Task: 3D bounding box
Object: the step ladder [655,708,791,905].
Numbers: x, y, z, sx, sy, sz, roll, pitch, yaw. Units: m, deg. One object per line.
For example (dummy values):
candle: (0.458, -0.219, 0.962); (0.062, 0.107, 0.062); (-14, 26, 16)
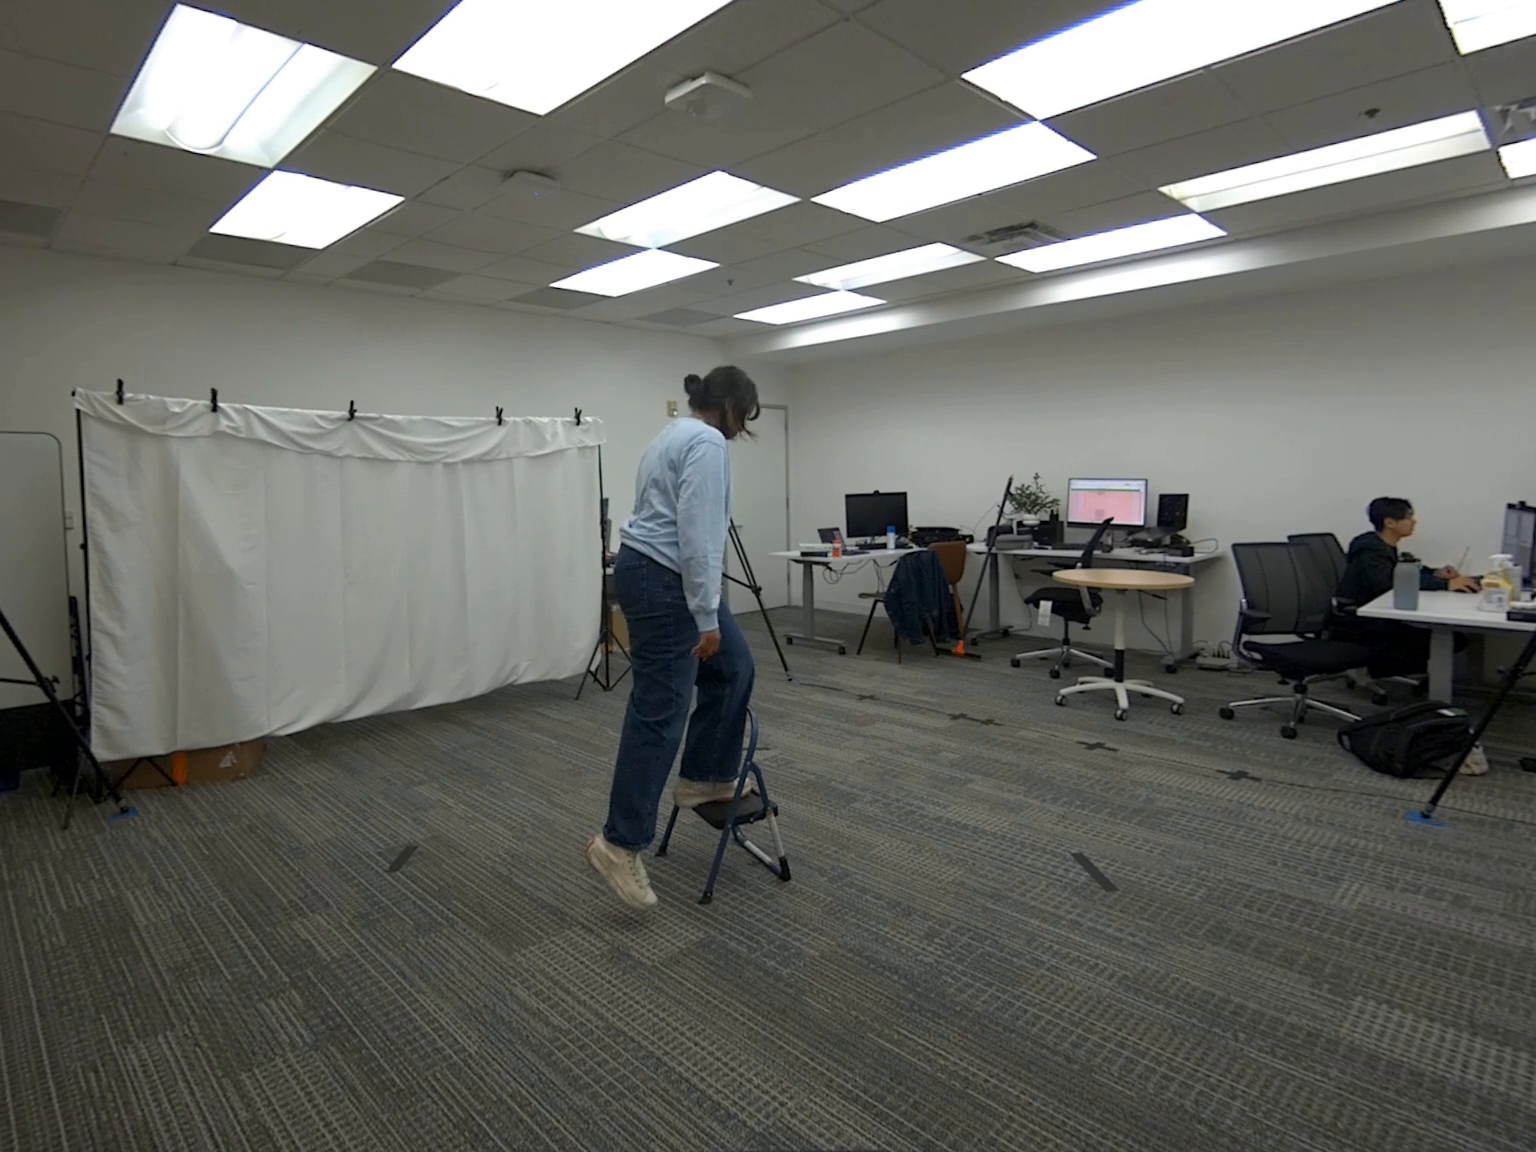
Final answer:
step ladder: (-0.167, 0.751, 3.061); (0.341, 0.604, 0.442); (-3, 5, -28)
